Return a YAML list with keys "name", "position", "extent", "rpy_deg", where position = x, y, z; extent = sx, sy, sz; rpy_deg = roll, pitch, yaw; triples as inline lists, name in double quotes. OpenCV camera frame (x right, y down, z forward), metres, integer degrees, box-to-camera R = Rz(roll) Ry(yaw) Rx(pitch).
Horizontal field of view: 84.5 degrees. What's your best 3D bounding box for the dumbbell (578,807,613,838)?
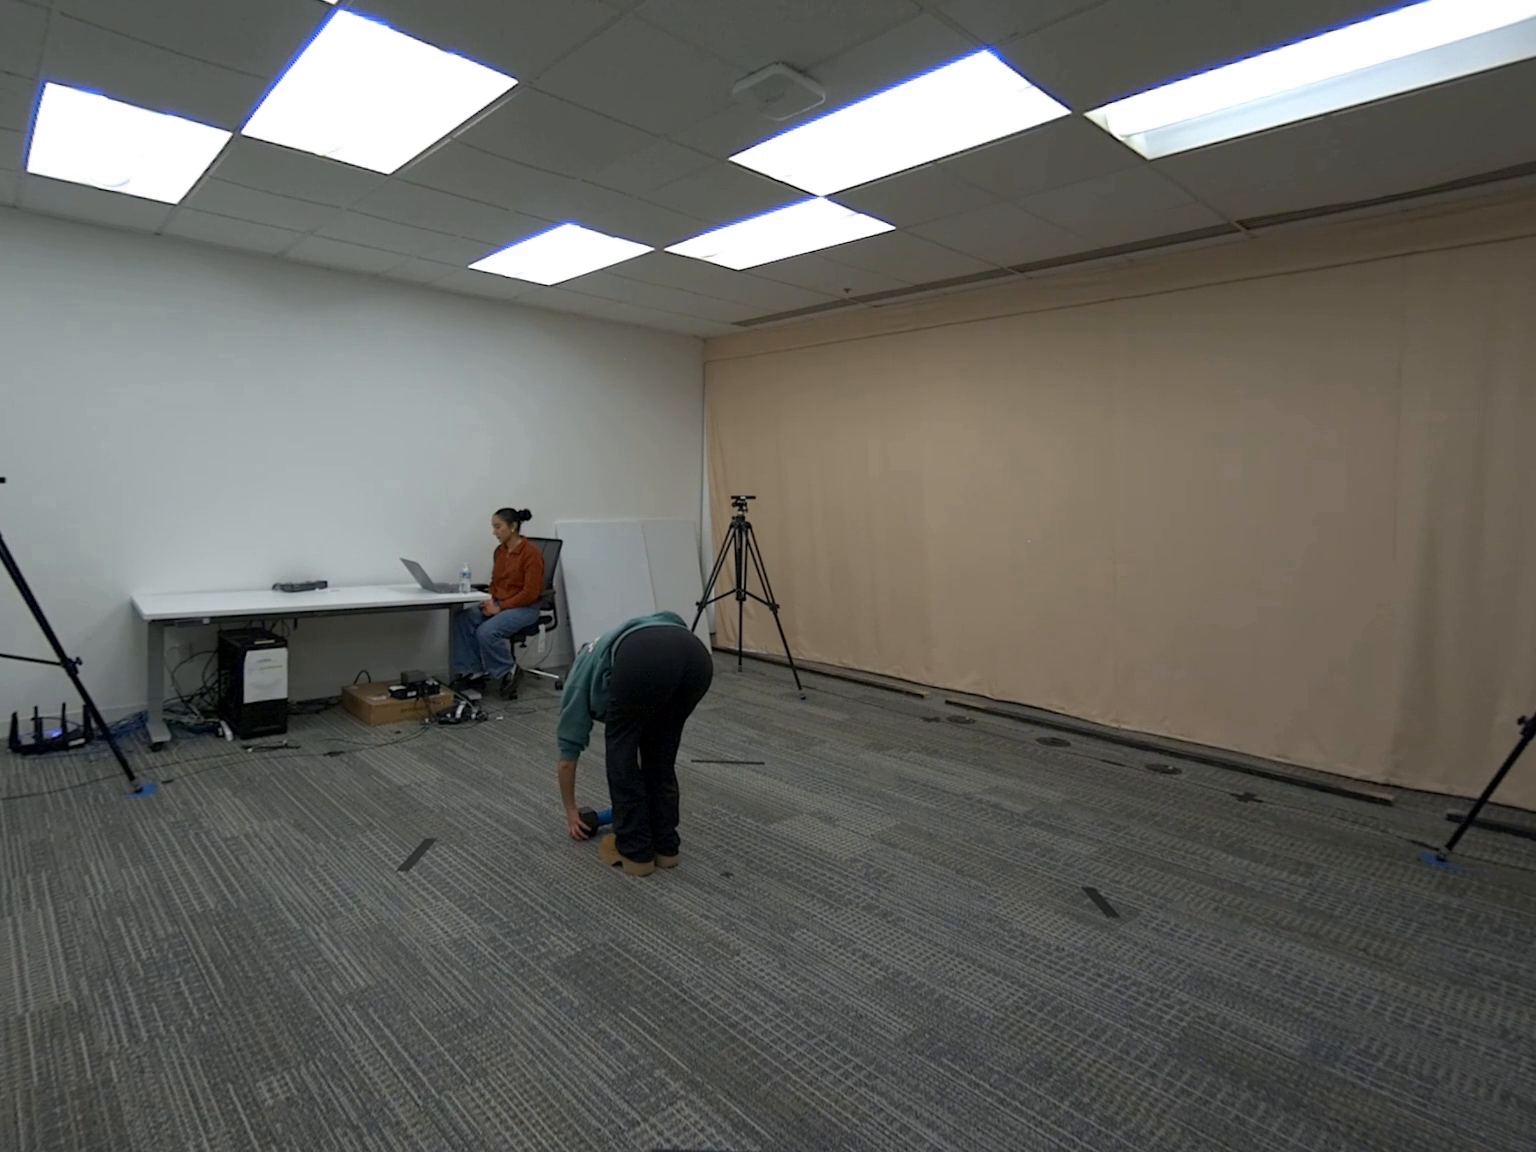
- name: "dumbbell"
  position: [-0.683, 1.008, 3.497]
  extent: [0.287, 0.125, 0.109]
  rpy_deg: [-2, -26, -42]
